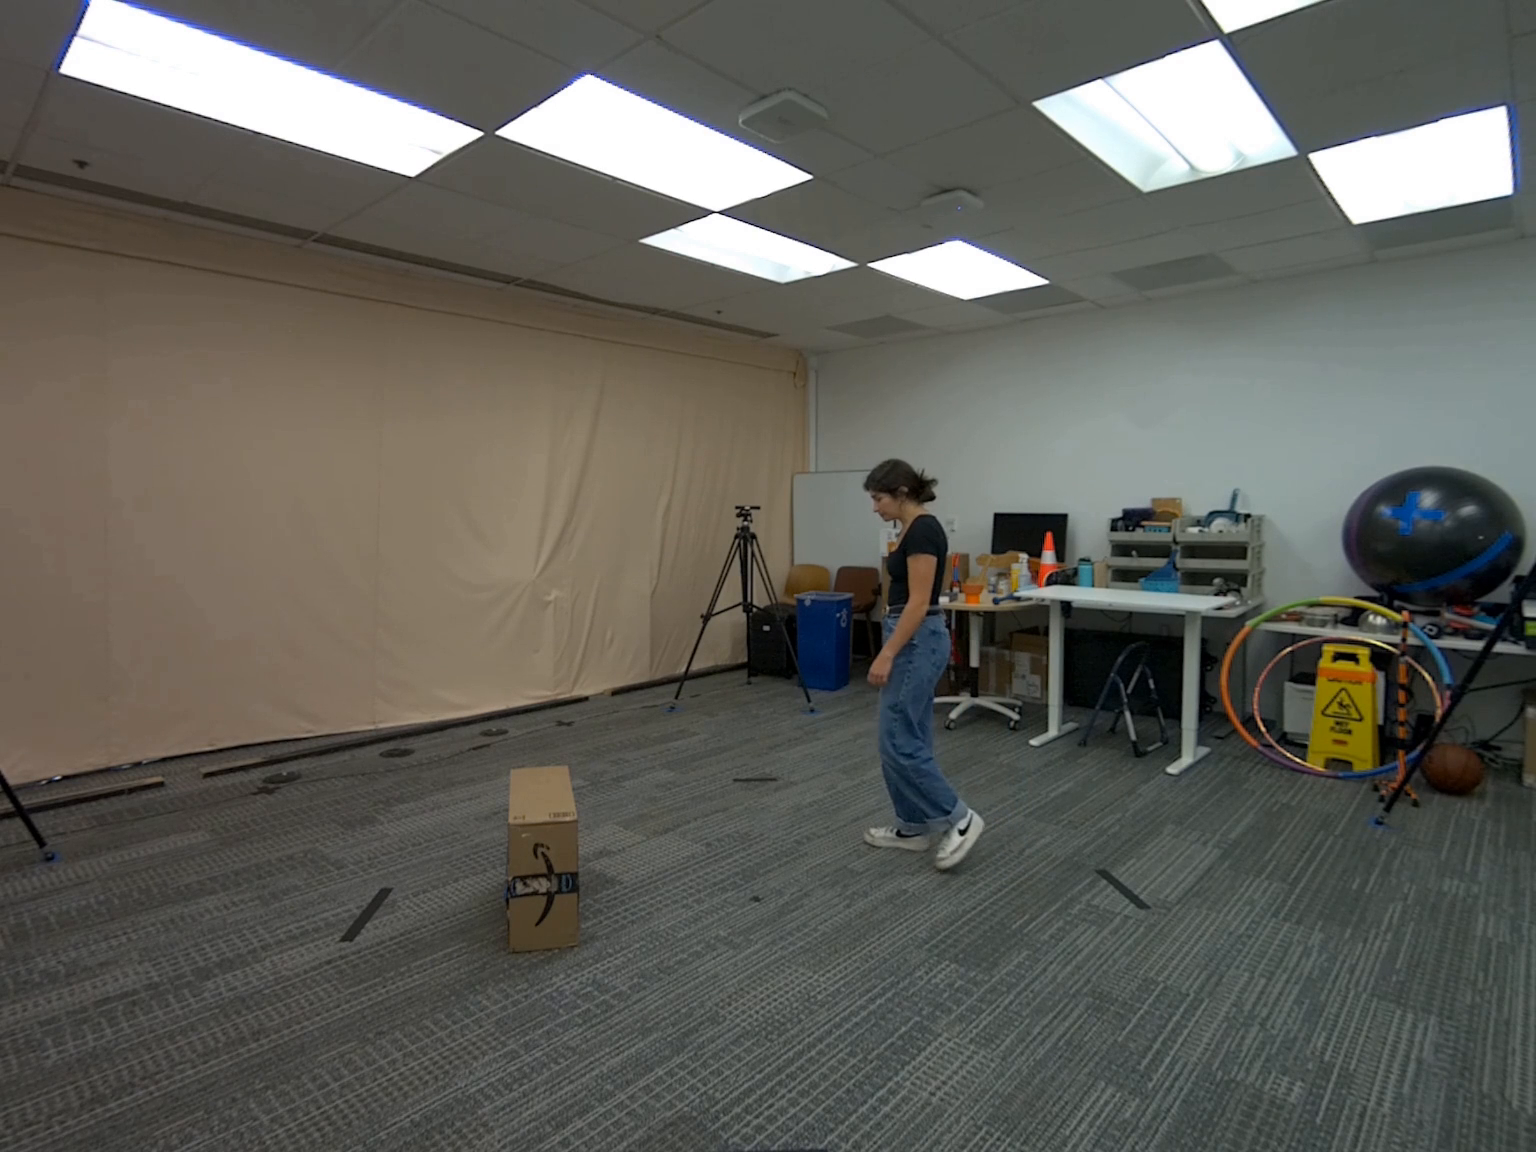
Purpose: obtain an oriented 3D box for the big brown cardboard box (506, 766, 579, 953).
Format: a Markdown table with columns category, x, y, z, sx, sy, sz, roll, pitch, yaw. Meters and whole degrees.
| category | x | y | z | sx | sy | sz | roll | pitch | yaw |
| --- | --- | --- | --- | --- | --- | --- | --- | --- | --- |
| big brown cardboard box | -0.783 | 0.948 | 2.900 | 0.230 | 0.417 | 0.599 | 0 | 3 | -15 |
